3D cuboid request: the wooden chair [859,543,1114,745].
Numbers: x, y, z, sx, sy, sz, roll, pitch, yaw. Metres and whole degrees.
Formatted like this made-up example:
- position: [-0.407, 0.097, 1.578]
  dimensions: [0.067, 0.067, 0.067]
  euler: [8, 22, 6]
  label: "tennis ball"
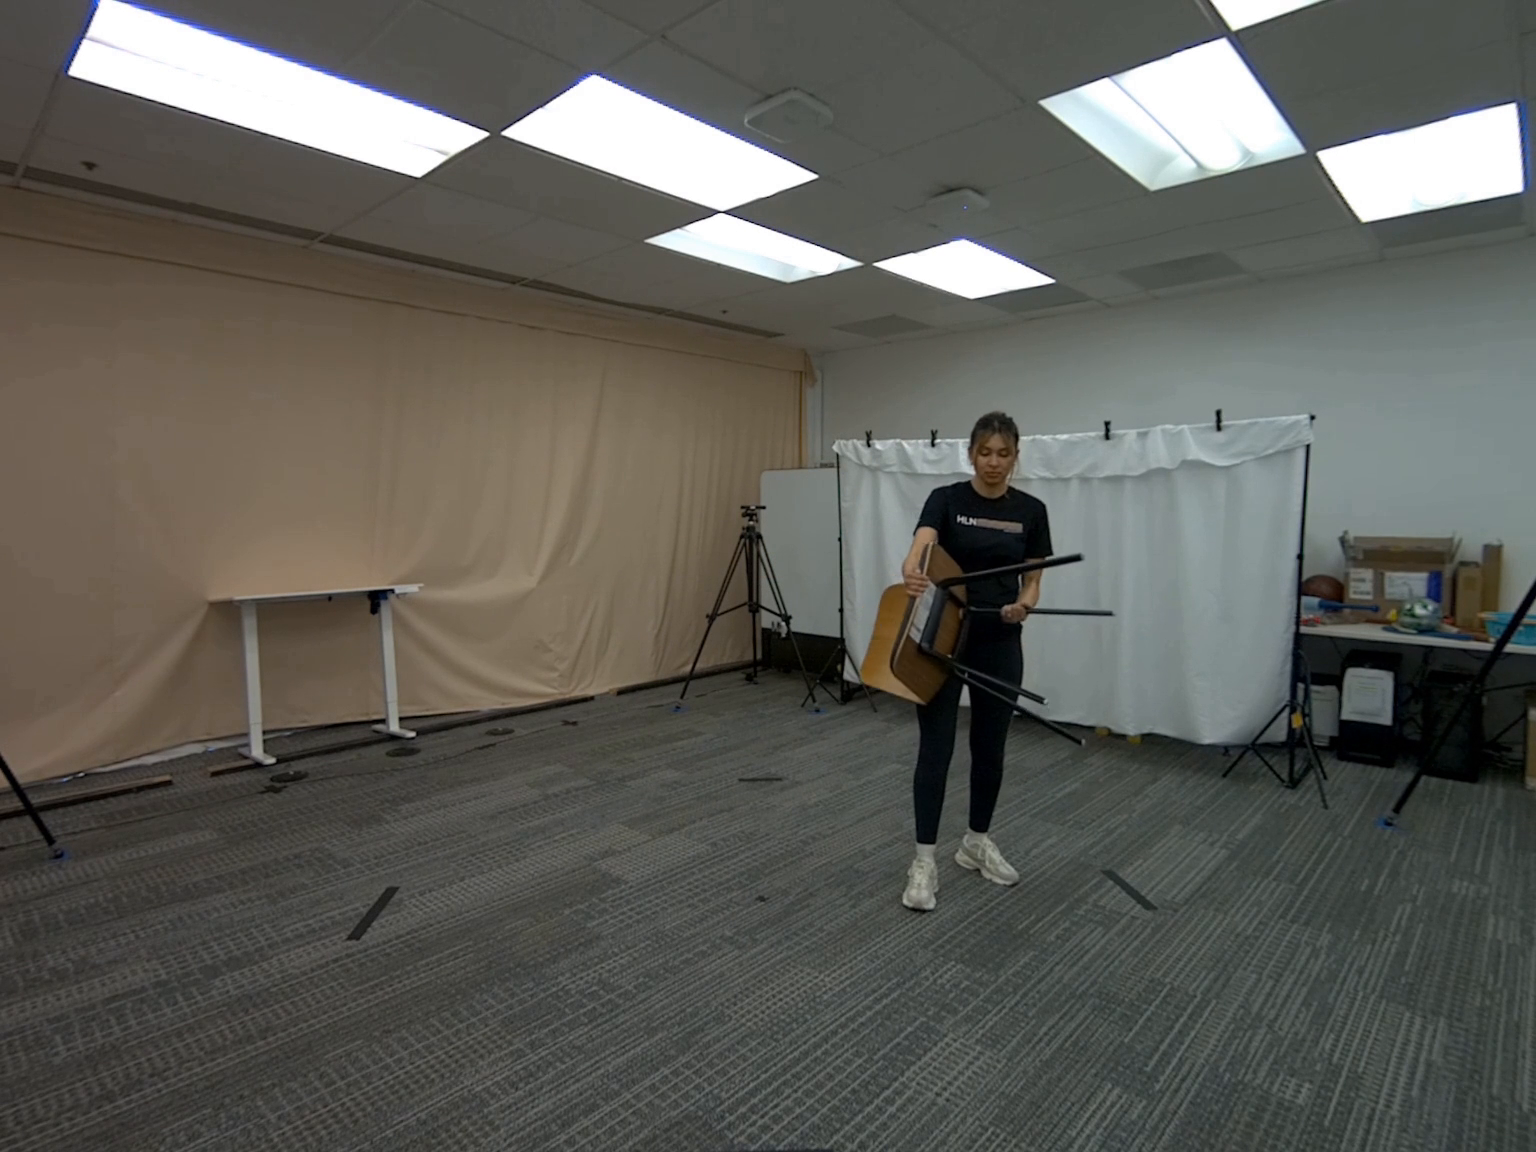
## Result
- position: [0.592, 0.180, 2.755]
  dimensions: [0.908, 0.479, 0.504]
  euler: [8, -19, 42]
  label: "wooden chair"
